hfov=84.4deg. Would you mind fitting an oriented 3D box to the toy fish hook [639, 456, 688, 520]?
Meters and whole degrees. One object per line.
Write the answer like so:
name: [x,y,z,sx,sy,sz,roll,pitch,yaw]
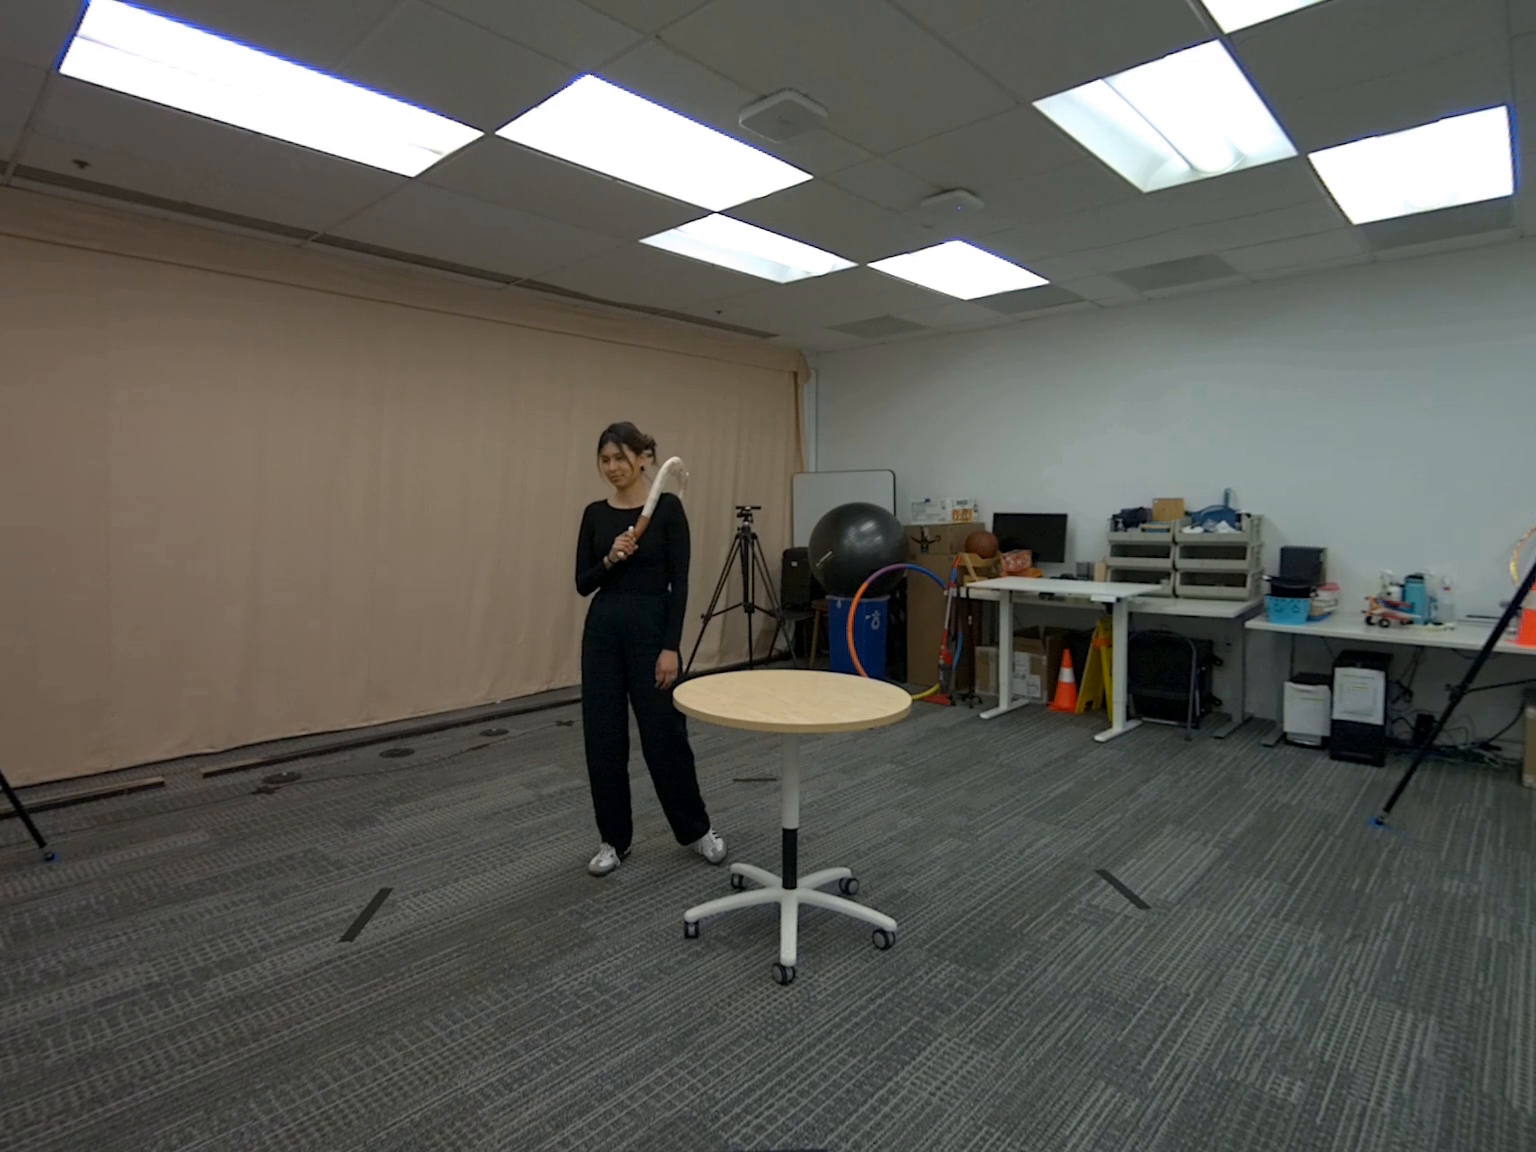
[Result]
toy fish hook: [-0.423,-0.233,3.236,0.050,0.508,0.217,9,-31,30]
